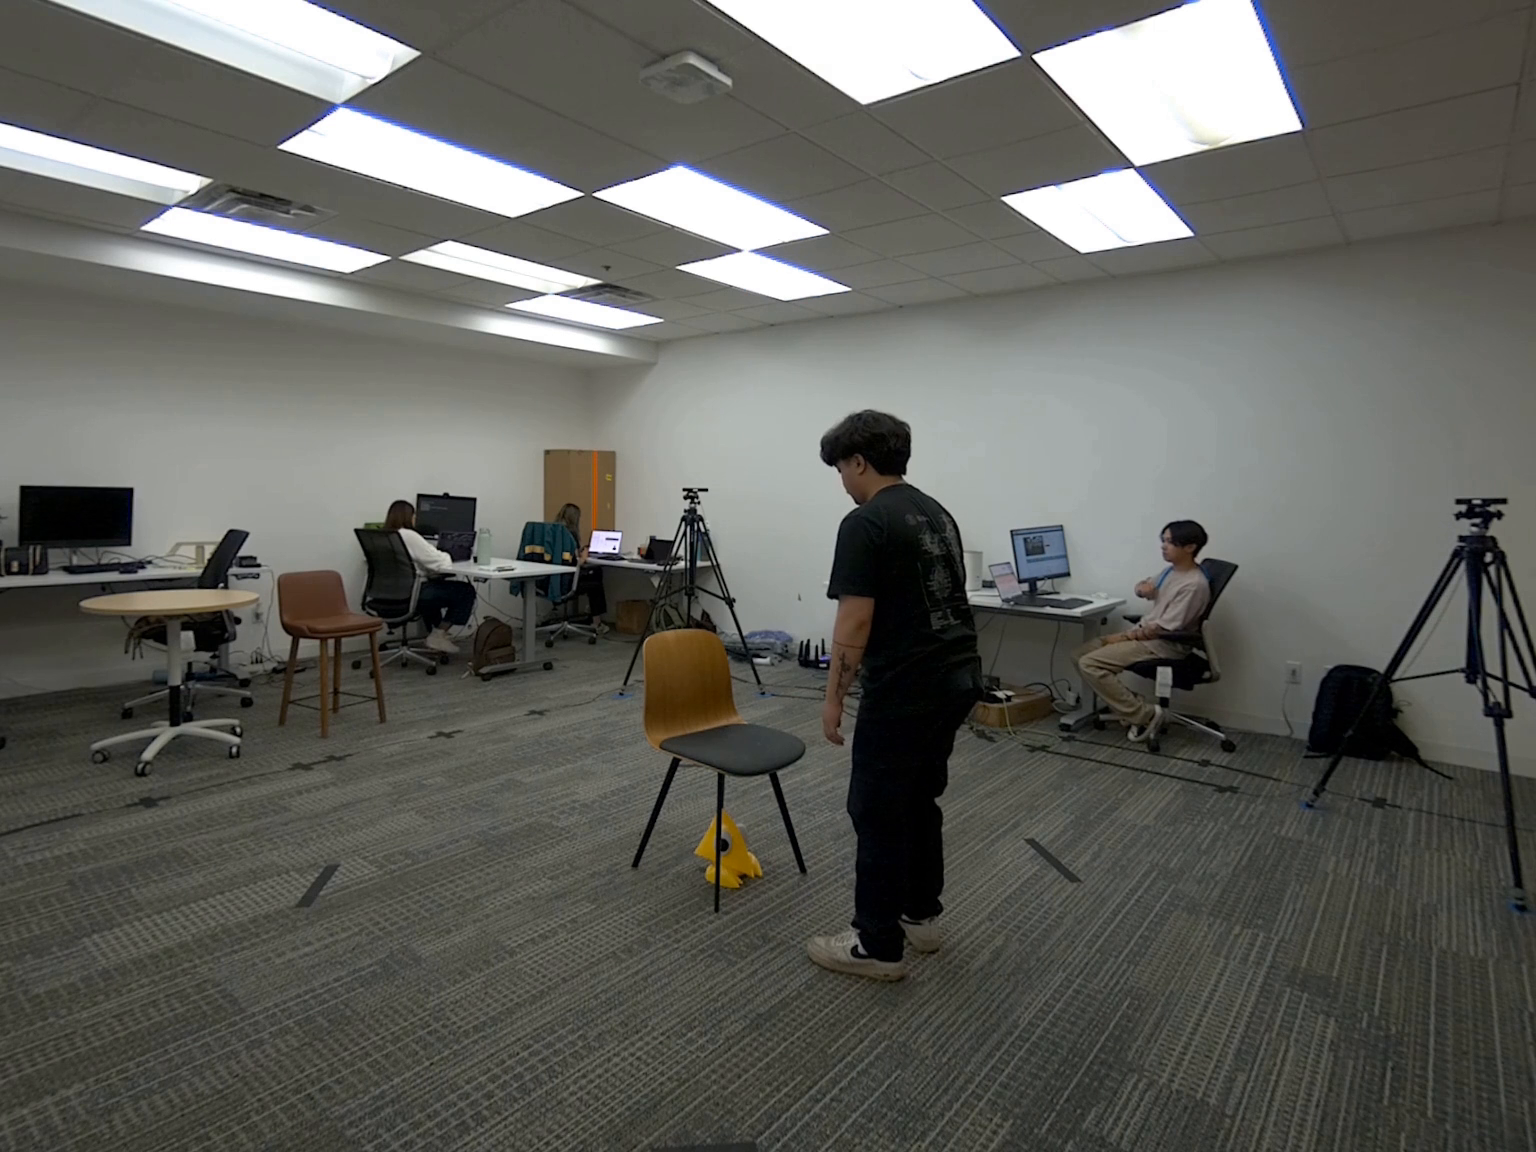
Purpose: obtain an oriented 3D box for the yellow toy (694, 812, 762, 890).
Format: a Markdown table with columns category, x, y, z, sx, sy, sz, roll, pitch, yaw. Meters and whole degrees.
| category | x | y | z | sx | sy | sz | roll | pitch | yaw |
| --- | --- | --- | --- | --- | --- | --- | --- | --- | --- |
| yellow toy | -0.137 | 0.963 | 3.070 | 0.200 | 0.230 | 0.199 | 5 | 6 | 40 |
